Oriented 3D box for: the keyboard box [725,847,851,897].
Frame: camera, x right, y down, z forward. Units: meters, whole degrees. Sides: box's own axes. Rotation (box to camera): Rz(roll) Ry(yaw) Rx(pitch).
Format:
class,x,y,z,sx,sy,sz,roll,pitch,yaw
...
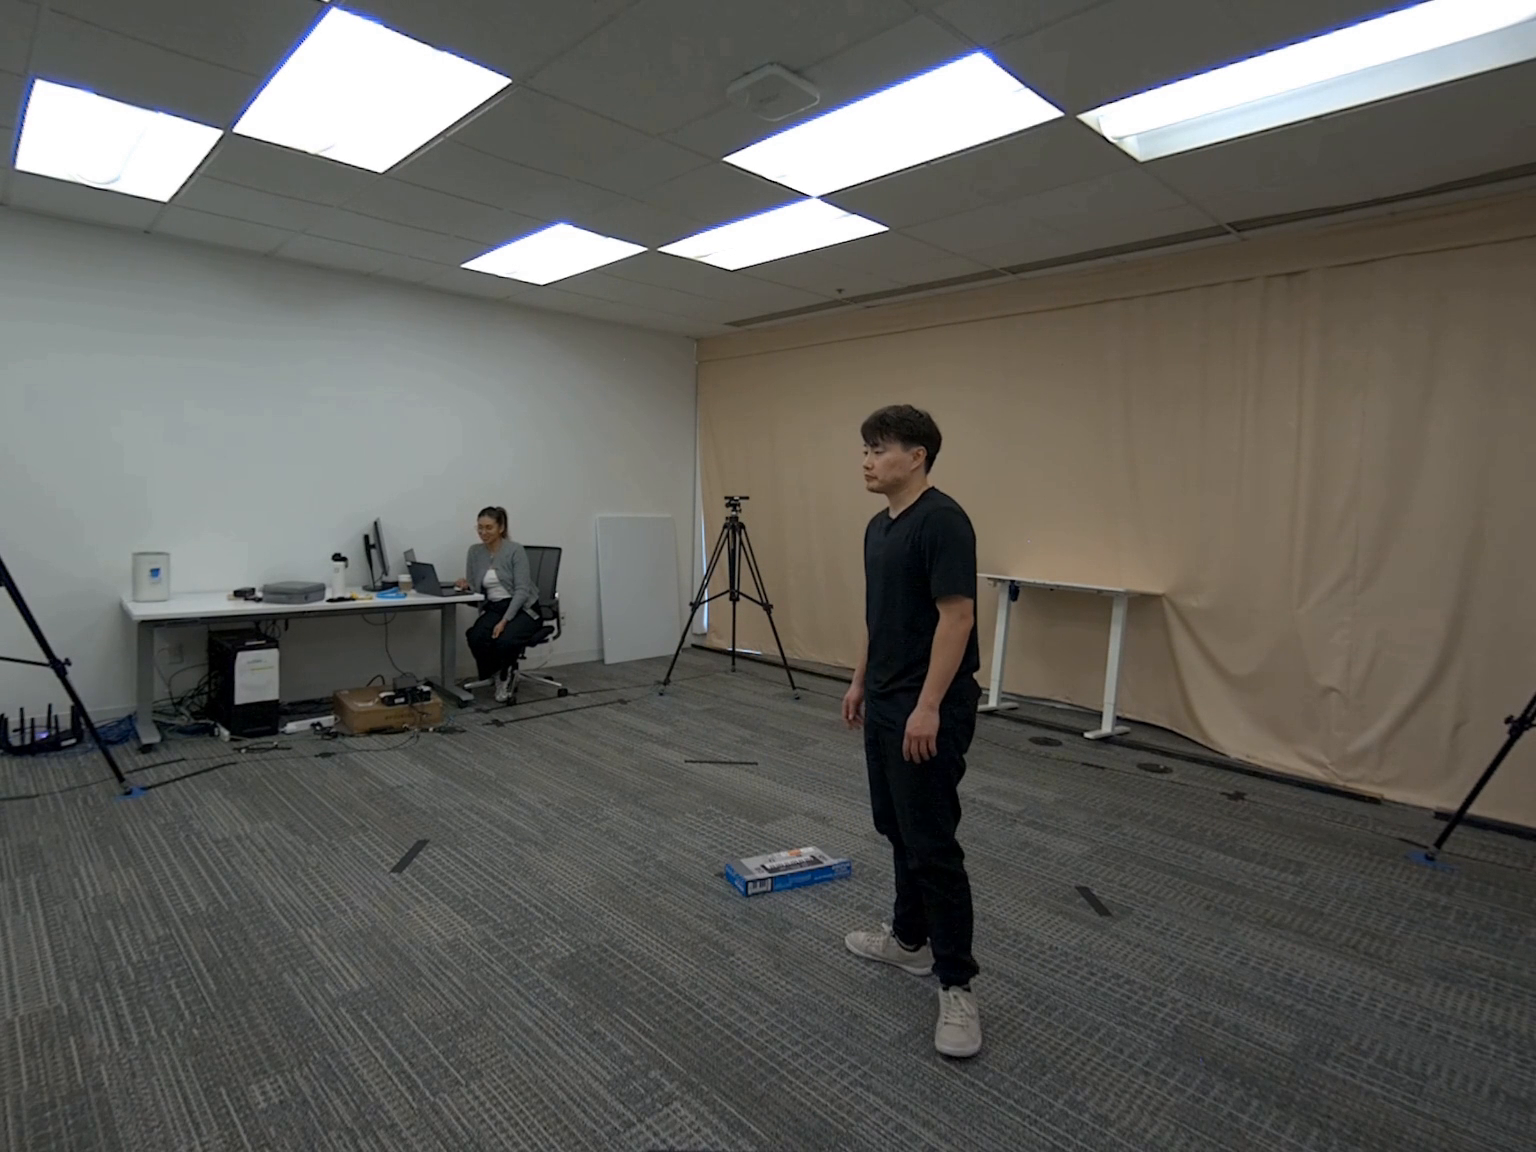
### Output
class,x,y,z,sx,sy,sz,roll,pitch,yaw
keyboard box,0.067,1.077,3.099,0.429,0.059,0.179,-1,5,-26
